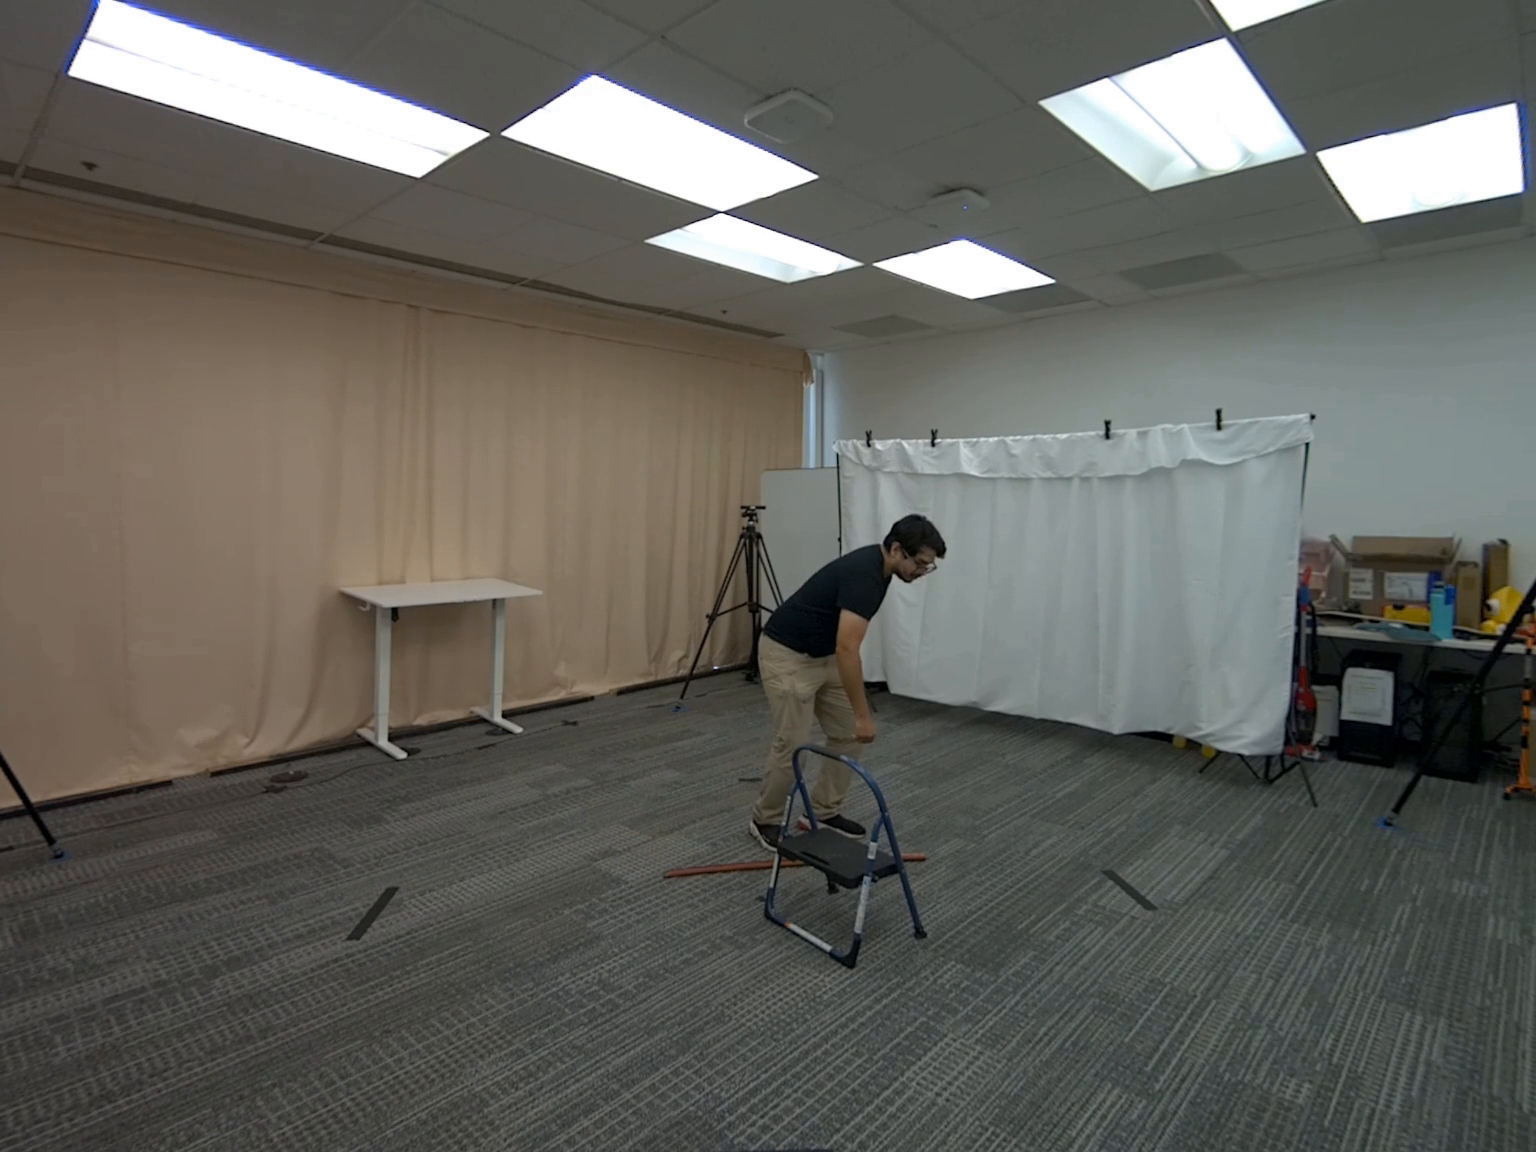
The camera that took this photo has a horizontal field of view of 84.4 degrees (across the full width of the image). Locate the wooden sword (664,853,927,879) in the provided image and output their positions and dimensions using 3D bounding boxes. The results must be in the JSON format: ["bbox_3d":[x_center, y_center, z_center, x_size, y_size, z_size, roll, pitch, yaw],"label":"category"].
[{"bbox_3d":[0.110,1.100,3.241,1.016,0.024,0.051,-1,-1,-8],"label":"wooden sword"}]
